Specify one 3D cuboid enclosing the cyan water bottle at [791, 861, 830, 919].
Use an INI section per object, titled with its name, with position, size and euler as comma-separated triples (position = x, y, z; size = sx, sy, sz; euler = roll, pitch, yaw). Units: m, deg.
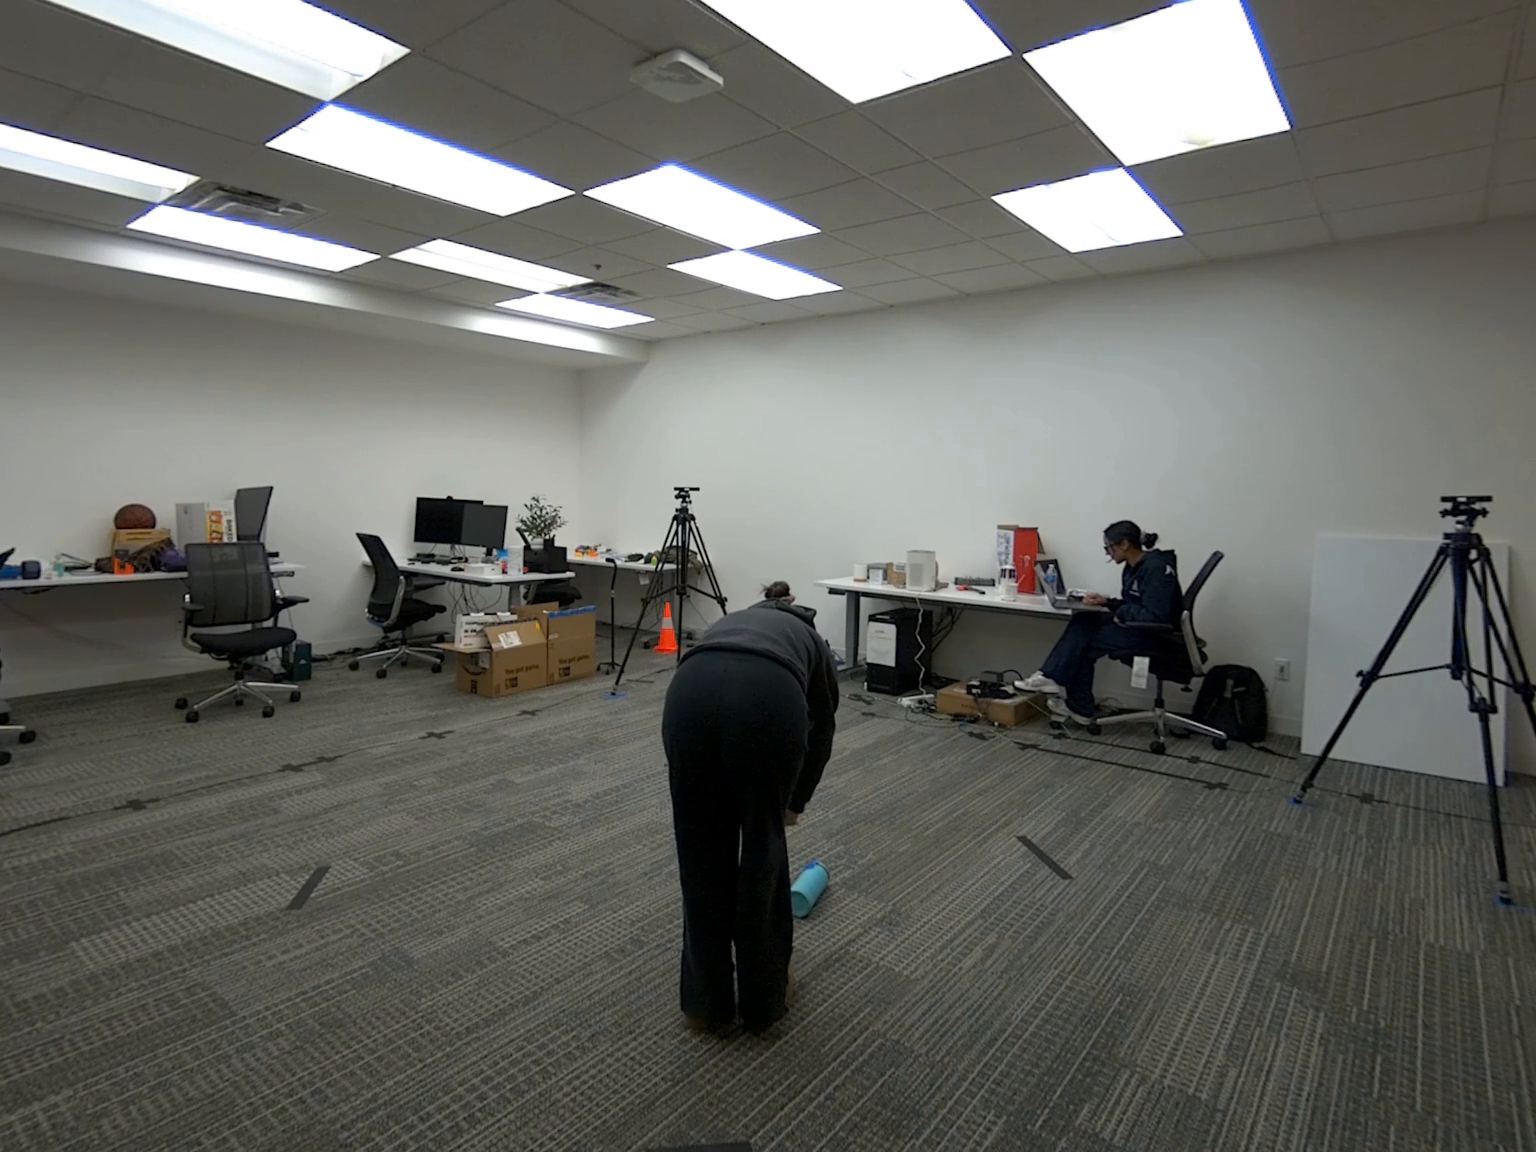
[cyan water bottle]
position = 0.144, 1.048, 2.887
size = 0.094, 0.092, 0.278
euler = 2, 6, 19
